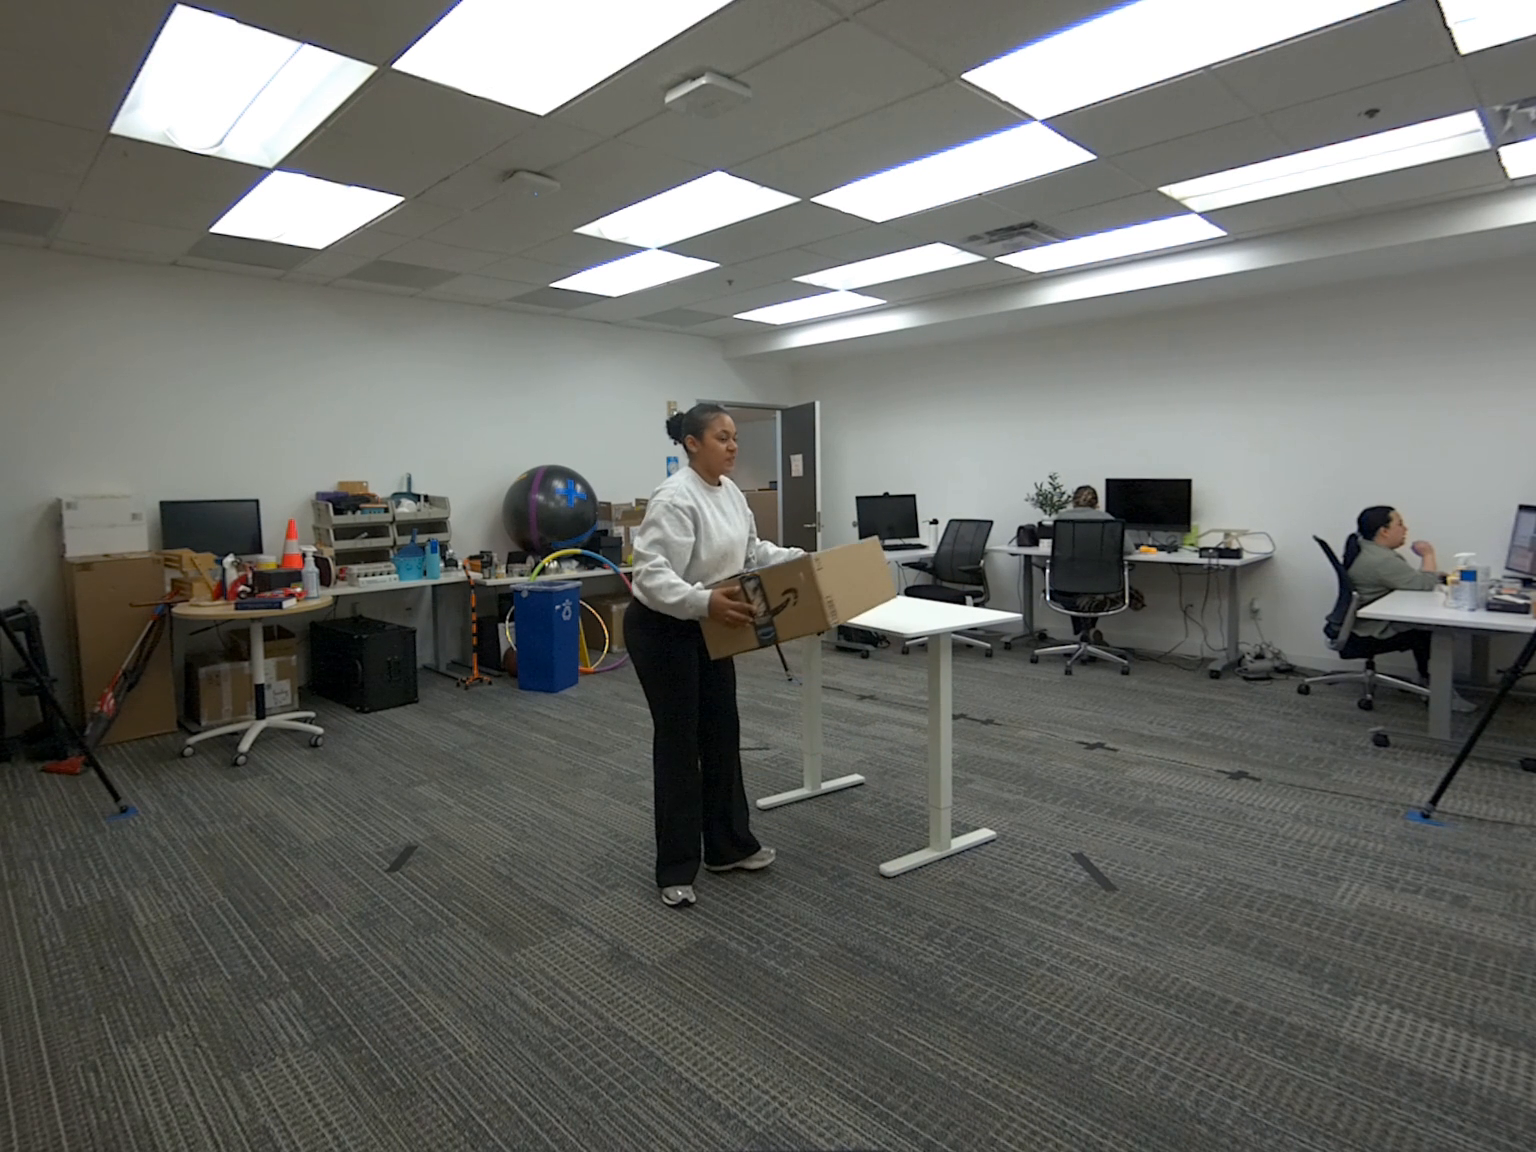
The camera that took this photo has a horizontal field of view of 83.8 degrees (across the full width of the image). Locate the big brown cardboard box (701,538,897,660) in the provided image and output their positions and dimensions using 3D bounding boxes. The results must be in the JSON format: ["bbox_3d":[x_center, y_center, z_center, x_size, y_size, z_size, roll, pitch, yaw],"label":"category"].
[{"bbox_3d":[0.094,0.060,2.694,0.424,0.234,0.577,-17,-2,29],"label":"big brown cardboard box"}]
